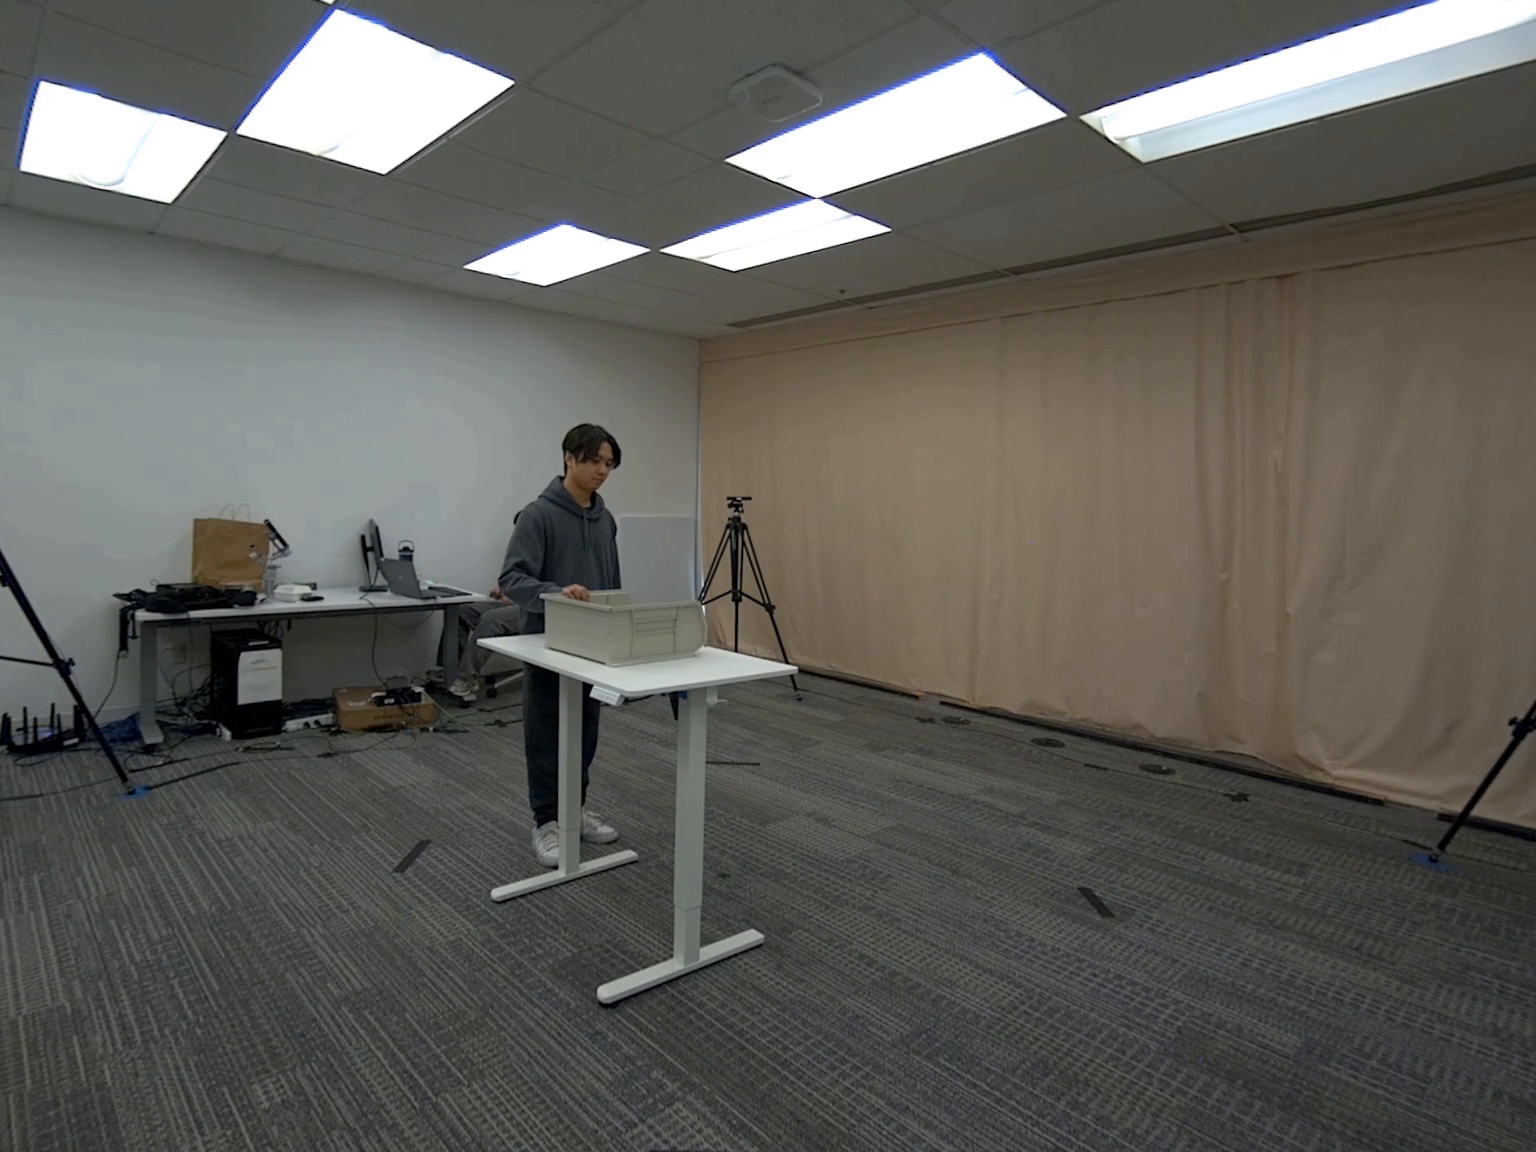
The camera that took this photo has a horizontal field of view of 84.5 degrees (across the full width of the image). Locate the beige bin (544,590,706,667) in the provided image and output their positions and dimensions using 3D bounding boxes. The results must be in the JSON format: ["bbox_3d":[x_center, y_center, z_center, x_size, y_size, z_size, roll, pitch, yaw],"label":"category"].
[{"bbox_3d":[-0.478,0.160,2.734,0.369,0.188,0.433,-4,6,-42],"label":"beige bin"}]
